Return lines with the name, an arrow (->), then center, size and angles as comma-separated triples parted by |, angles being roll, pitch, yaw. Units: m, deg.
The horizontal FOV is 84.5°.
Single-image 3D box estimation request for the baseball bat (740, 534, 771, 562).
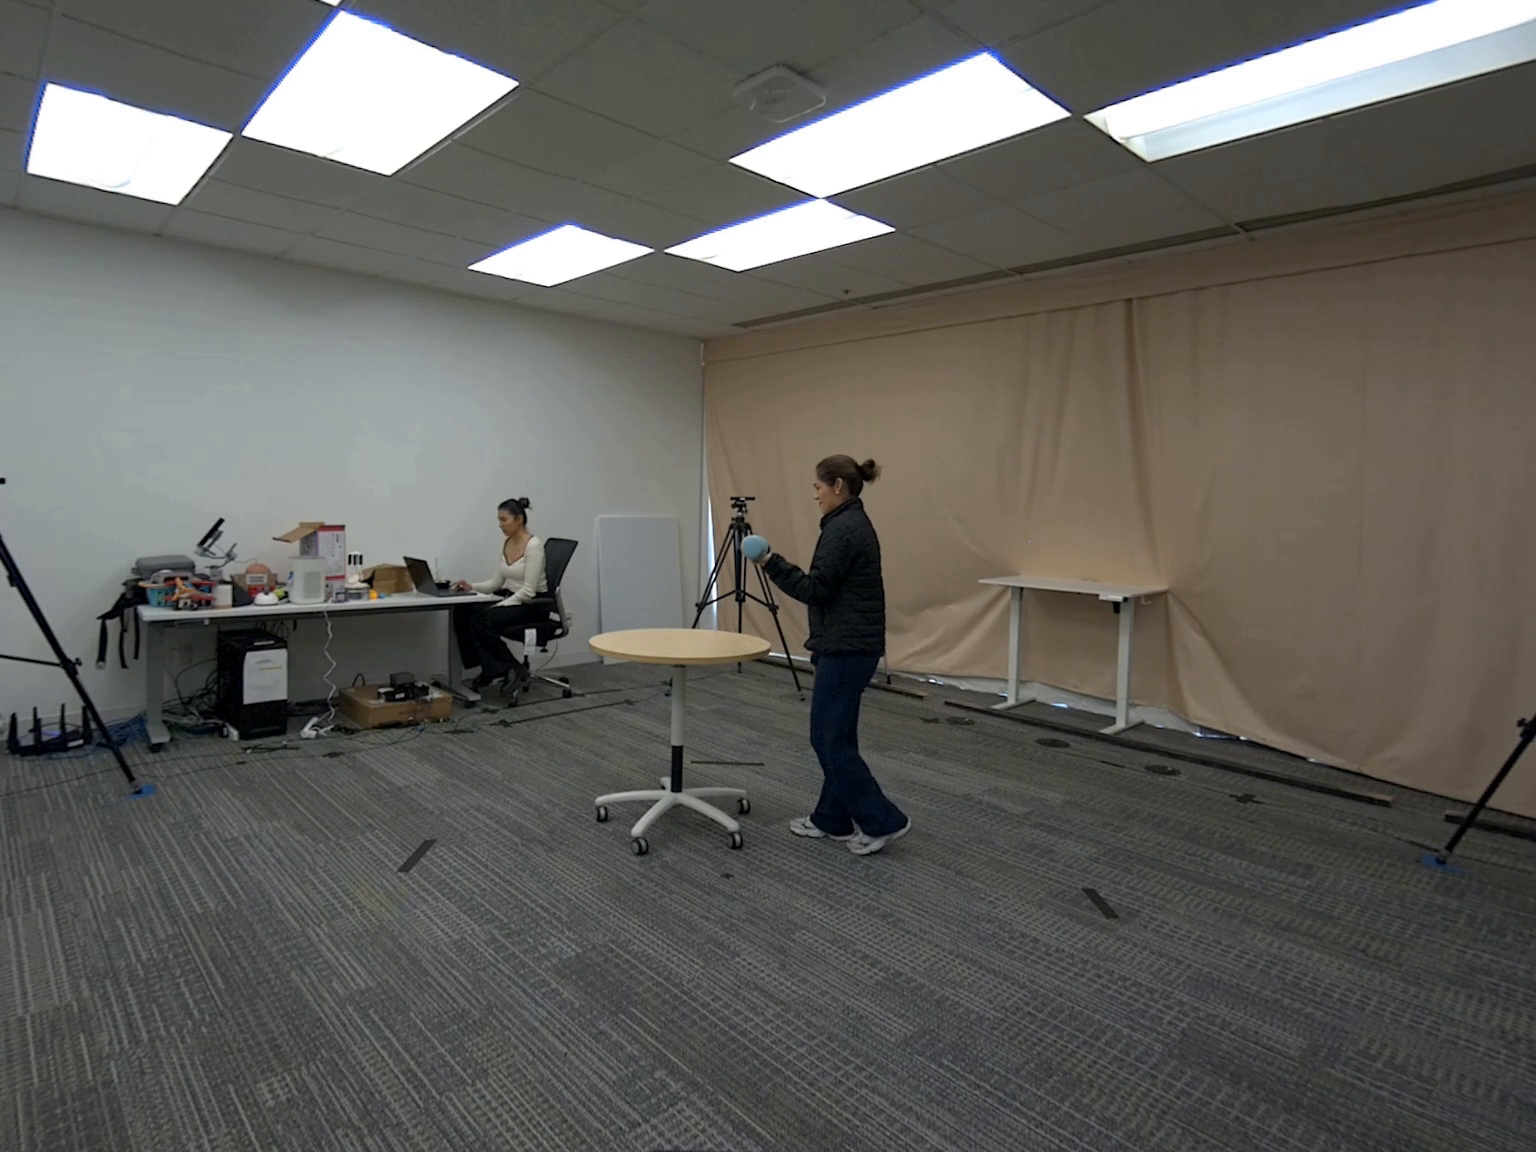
baseball bat -> -0.031, -0.106, 3.318 | 0.090, 0.089, 0.538 | 2, 1, 9
